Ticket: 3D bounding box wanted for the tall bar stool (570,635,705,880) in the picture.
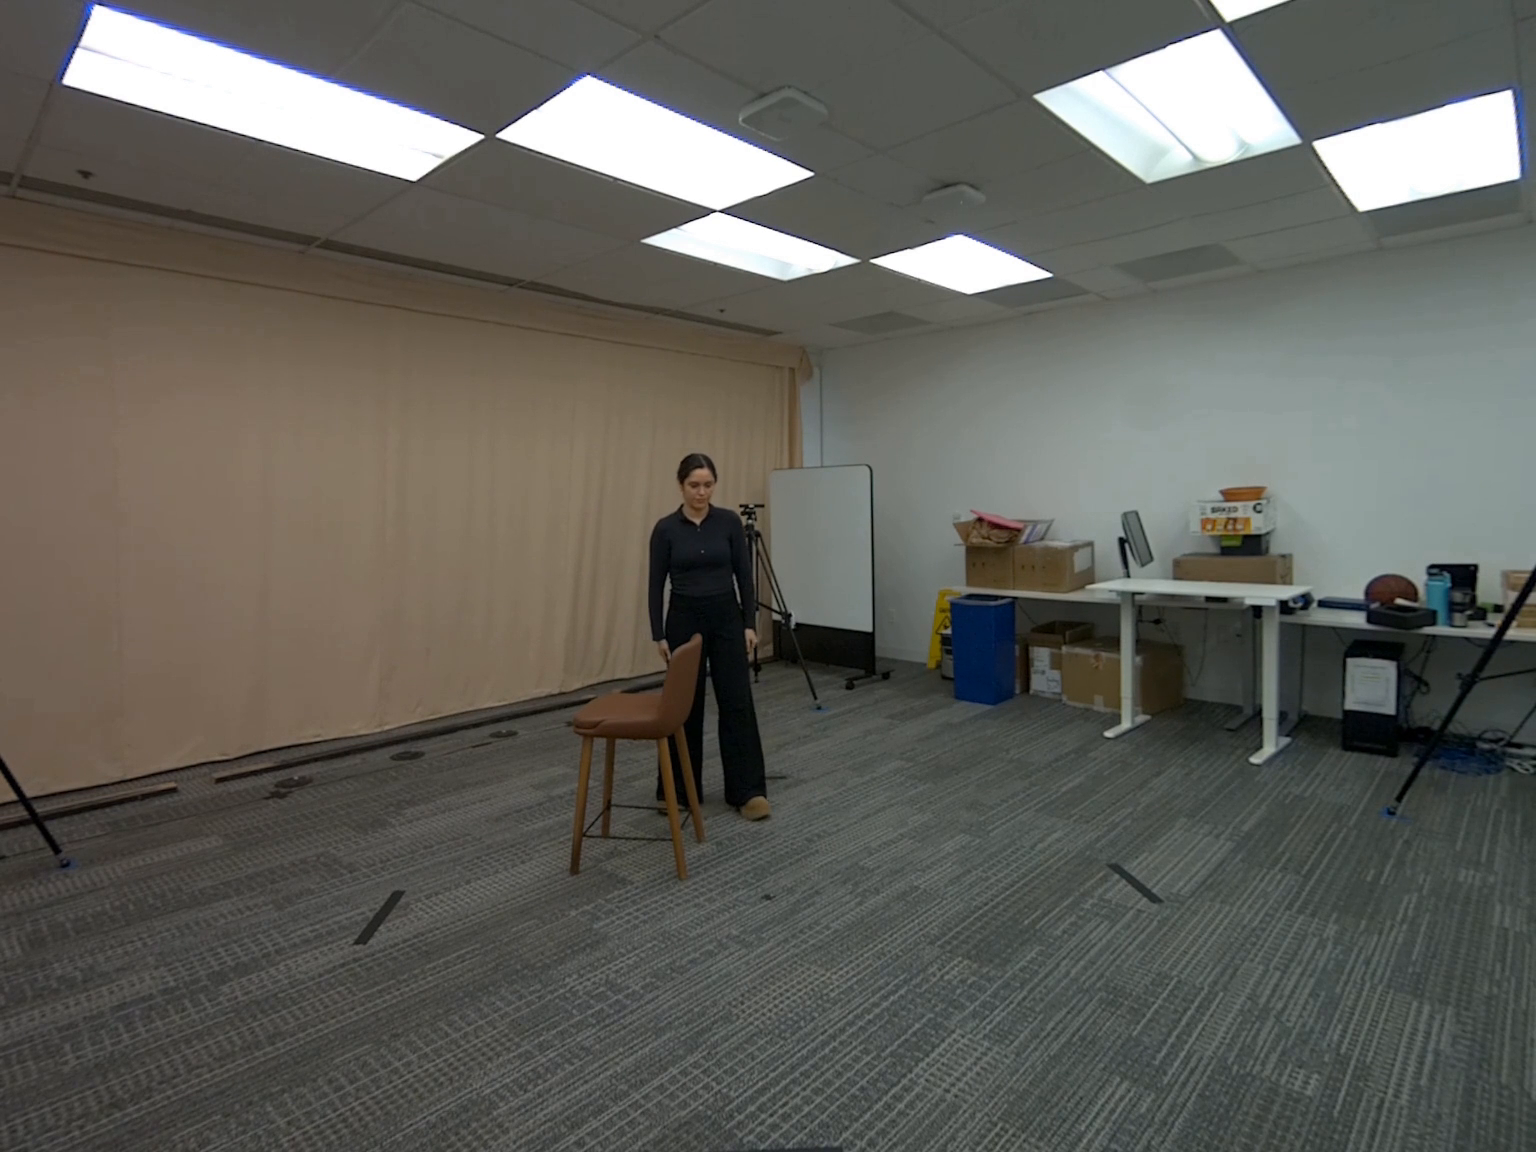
[{"bbox_3d":[-0.513,0.687,3.339,0.473,0.888,0.452,0,3,10],"label":"tall bar stool"}]
